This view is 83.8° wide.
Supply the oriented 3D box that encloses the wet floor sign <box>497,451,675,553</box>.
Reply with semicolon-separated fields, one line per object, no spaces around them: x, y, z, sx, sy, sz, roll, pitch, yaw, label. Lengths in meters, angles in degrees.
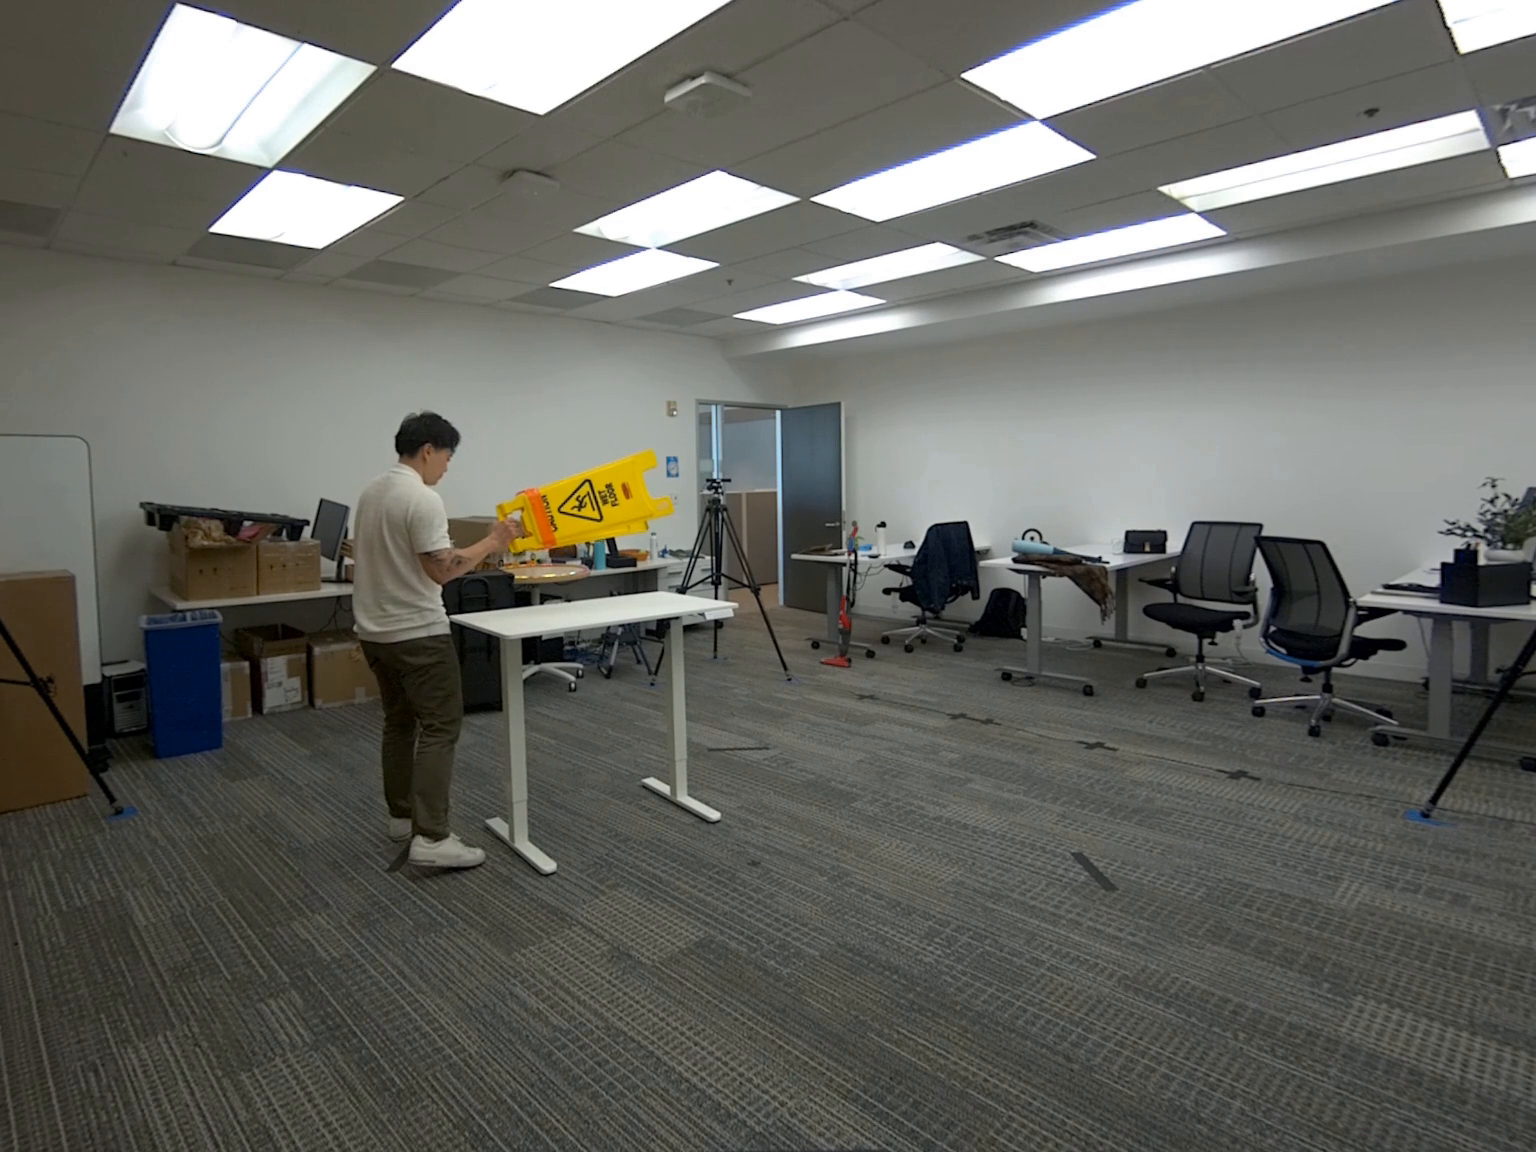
-0.747;-0.265;3.409;0.635;0.284;0.293;-19;-4;-30;wet floor sign
